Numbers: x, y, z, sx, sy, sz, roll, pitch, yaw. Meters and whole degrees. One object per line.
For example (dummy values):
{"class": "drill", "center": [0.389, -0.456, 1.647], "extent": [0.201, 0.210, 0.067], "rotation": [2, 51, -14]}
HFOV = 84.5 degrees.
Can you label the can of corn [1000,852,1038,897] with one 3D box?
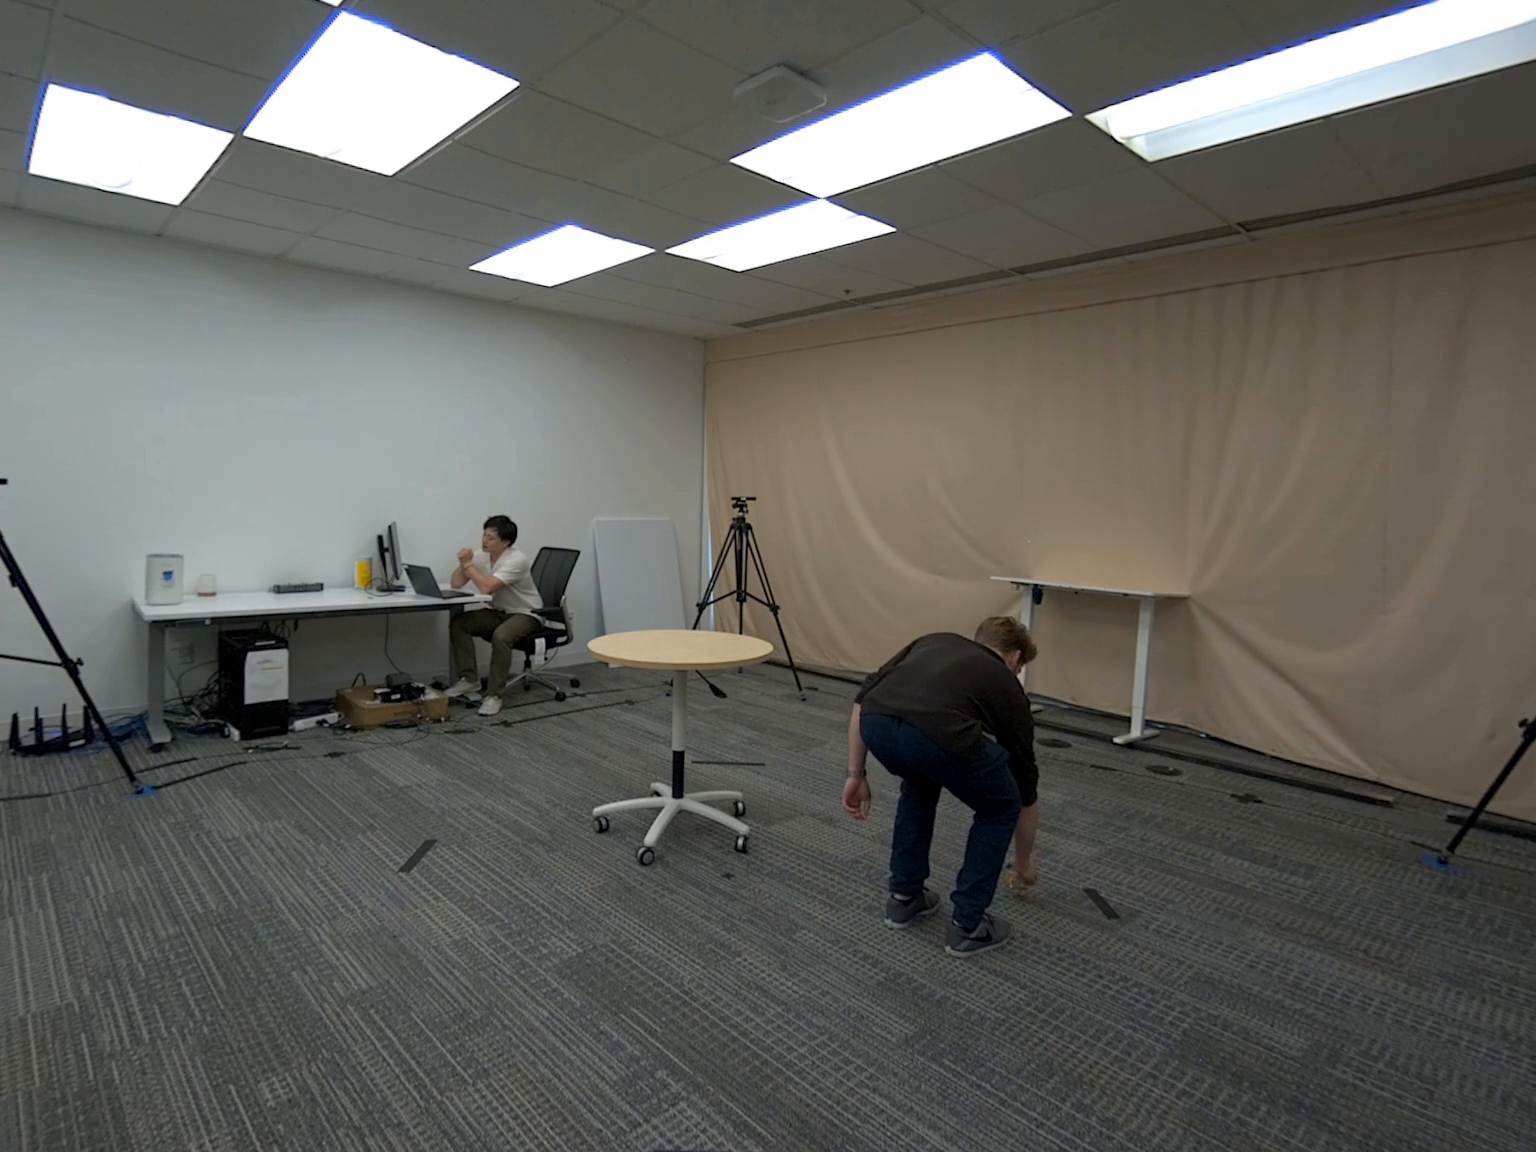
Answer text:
{"class": "can of corn", "center": [0.887, 1.054, 2.998], "extent": [0.074, 0.111, 0.074], "rotation": [17, 1, -2]}
